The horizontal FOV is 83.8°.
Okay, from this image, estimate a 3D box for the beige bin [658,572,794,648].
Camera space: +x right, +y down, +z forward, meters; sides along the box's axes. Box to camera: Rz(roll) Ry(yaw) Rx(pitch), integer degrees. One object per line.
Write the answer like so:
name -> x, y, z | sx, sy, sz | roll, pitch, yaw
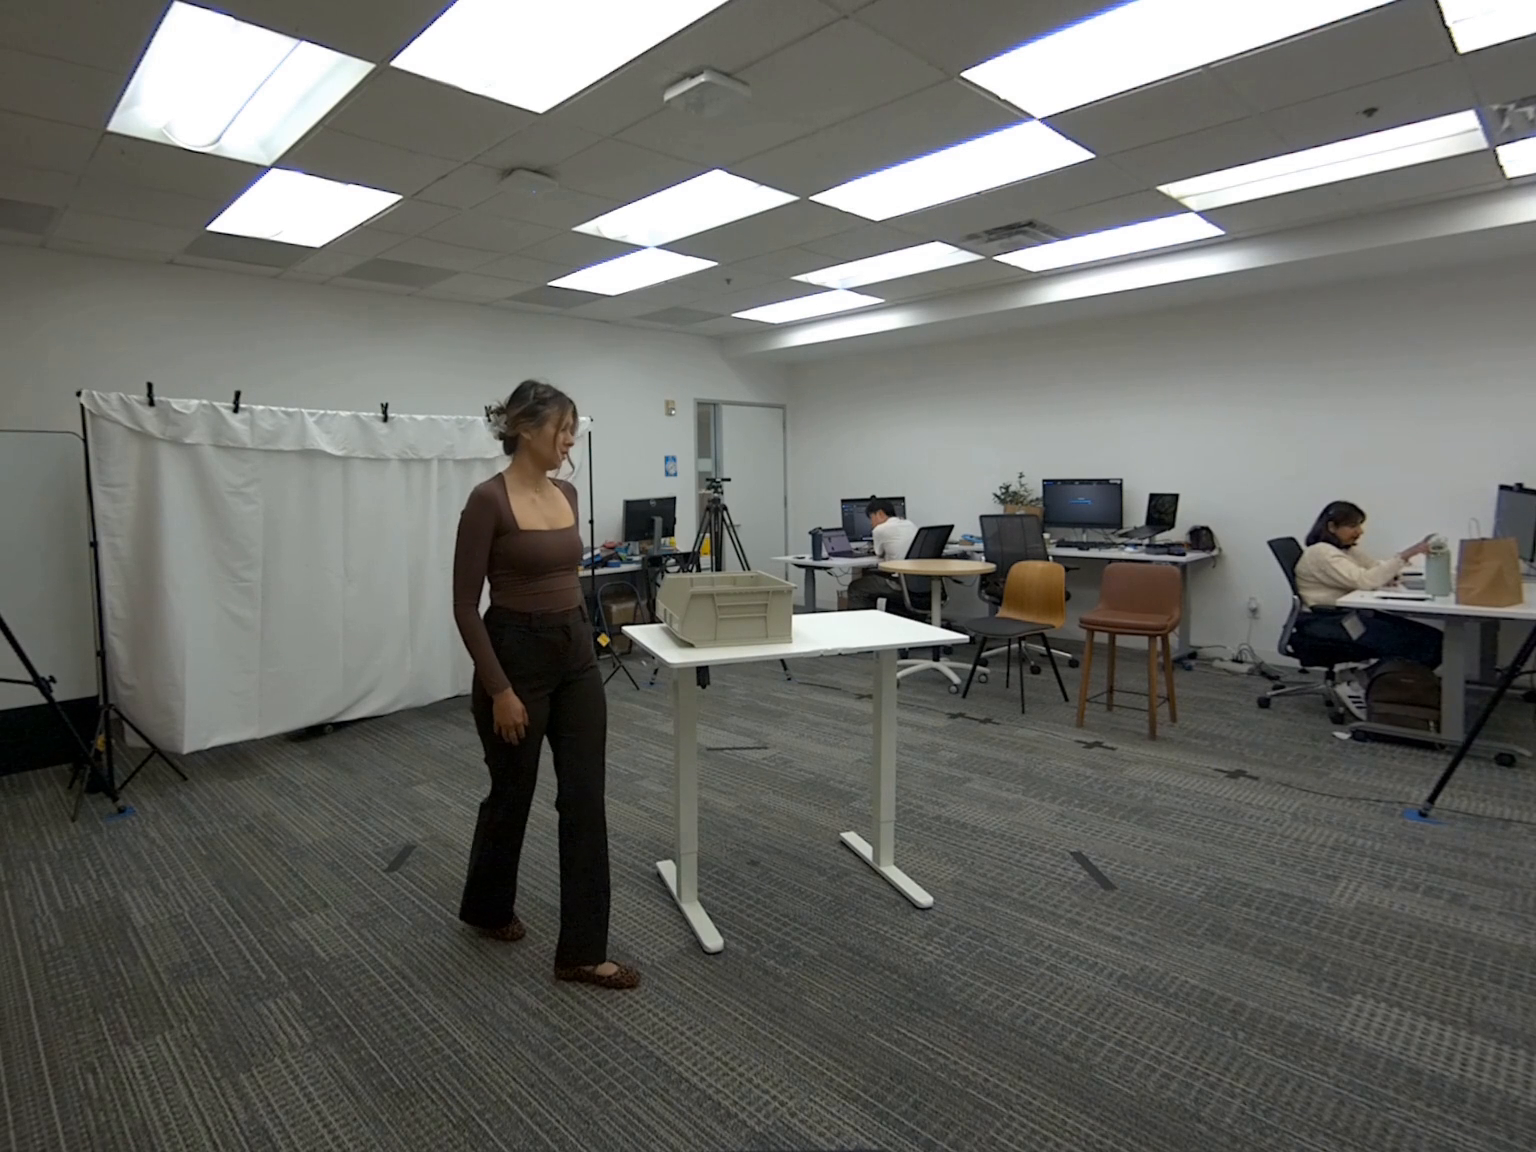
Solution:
beige bin -> -0.143, 0.103, 2.809 | 0.372, 0.188, 0.430 | -1, 6, -17
